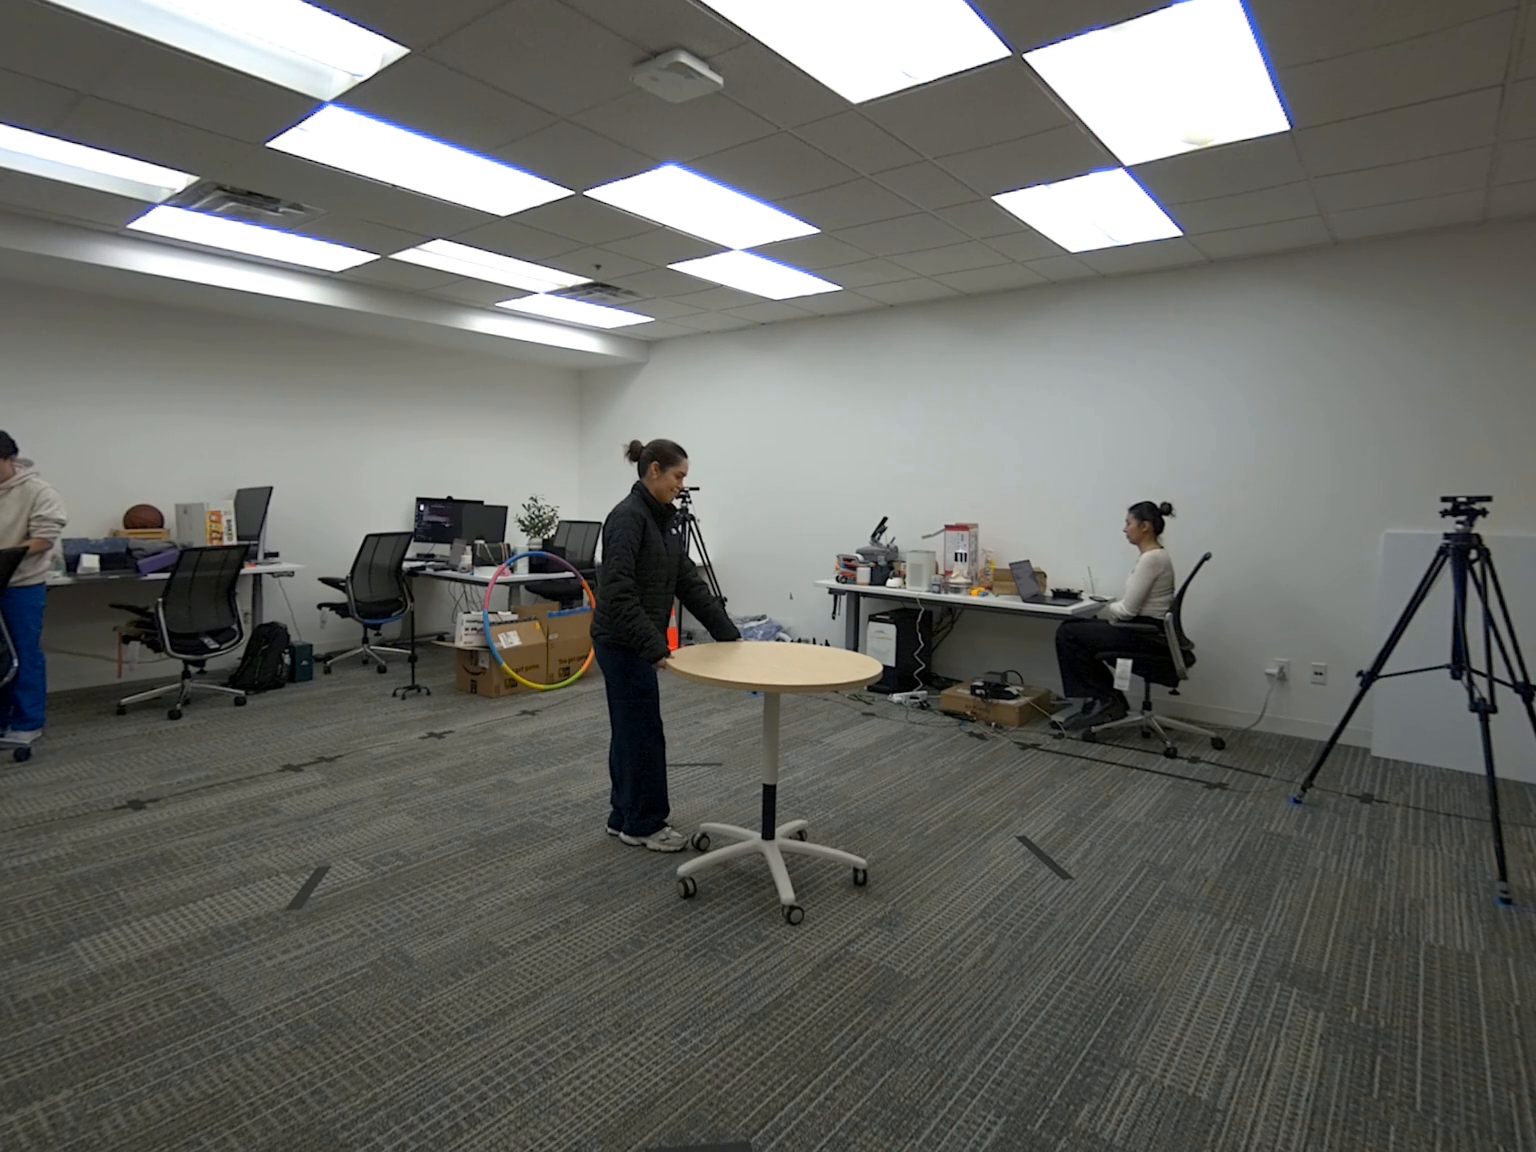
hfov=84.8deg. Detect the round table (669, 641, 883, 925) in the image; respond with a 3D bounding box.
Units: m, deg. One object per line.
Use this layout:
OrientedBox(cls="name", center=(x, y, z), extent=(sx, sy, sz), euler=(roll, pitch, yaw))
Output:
OrientedBox(cls="round table", center=(0.033, 0.683, 3.040), extent=(0.784, 0.784, 0.789), euler=(1, 4, -2))
